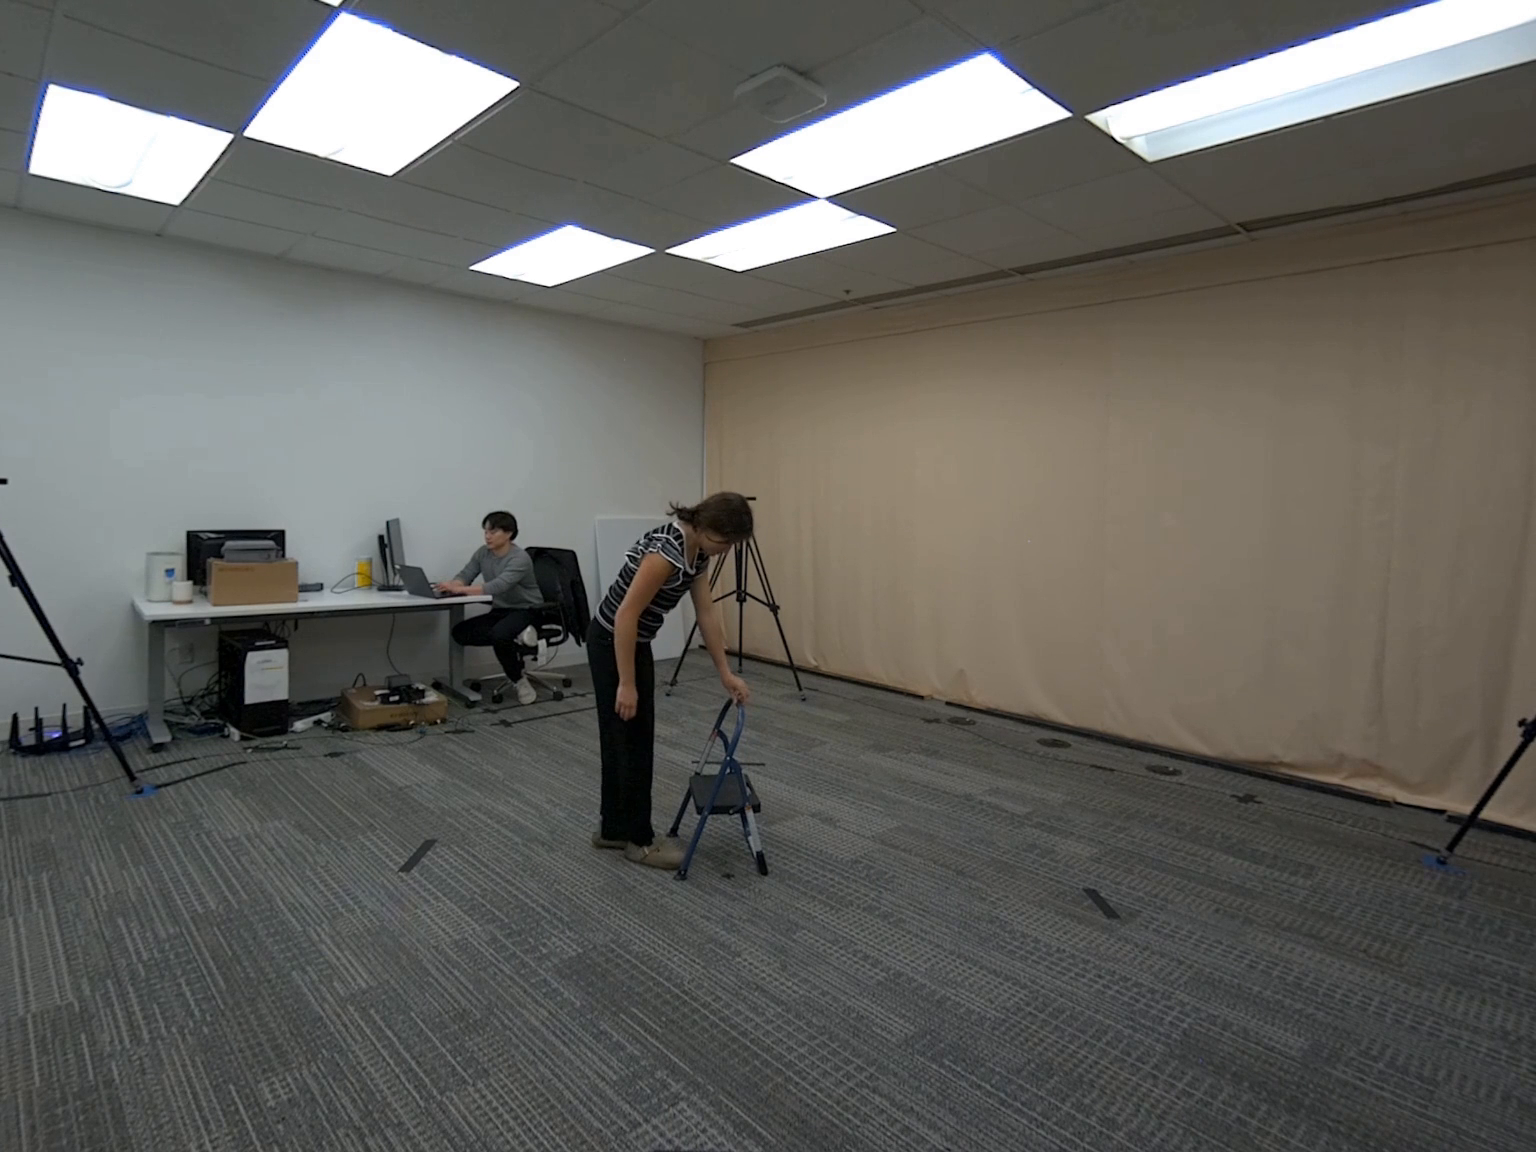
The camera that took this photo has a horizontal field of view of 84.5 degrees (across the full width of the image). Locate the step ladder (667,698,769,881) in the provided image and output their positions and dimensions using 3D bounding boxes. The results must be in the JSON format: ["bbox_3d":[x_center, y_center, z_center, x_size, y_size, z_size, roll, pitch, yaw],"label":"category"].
[{"bbox_3d":[-0.202,0.790,3.273,0.346,0.605,0.435,1,3,-10],"label":"step ladder"}]
